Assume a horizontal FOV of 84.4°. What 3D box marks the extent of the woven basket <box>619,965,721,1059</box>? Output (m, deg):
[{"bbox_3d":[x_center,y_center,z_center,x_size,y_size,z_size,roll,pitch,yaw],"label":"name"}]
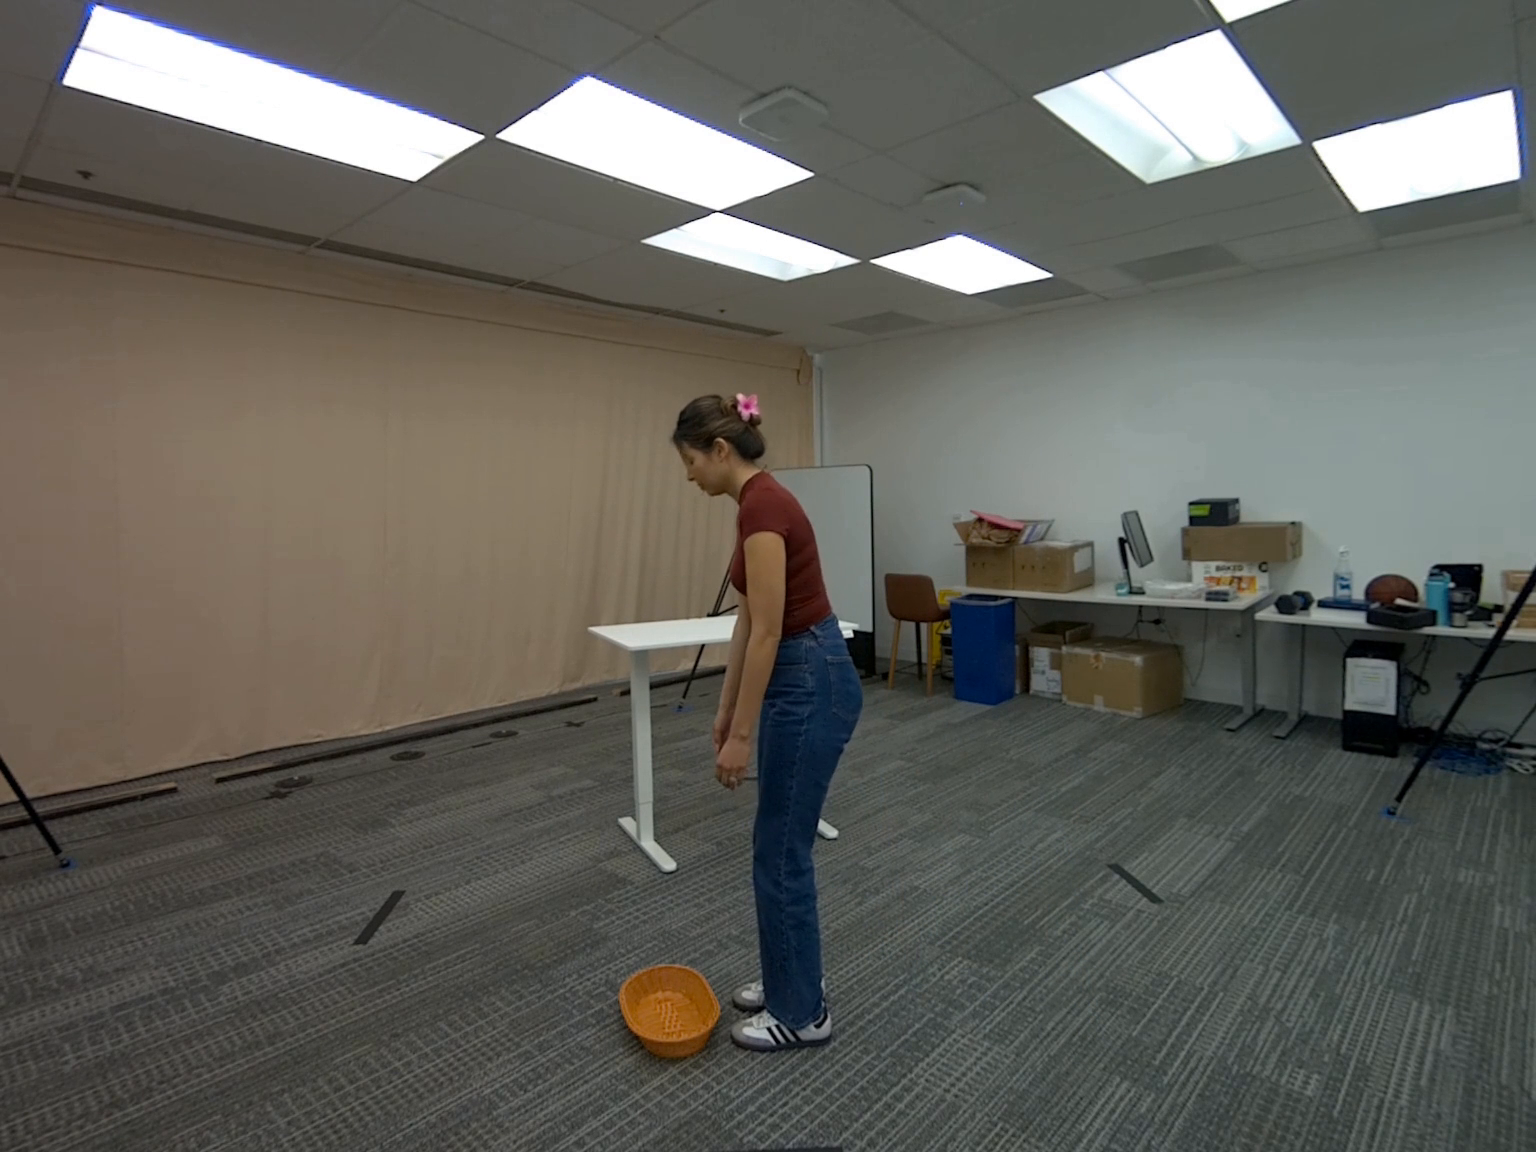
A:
[{"bbox_3d":[-0.266,1.173,2.259,0.248,0.073,0.357,-2,4,-18],"label":"woven basket"}]
